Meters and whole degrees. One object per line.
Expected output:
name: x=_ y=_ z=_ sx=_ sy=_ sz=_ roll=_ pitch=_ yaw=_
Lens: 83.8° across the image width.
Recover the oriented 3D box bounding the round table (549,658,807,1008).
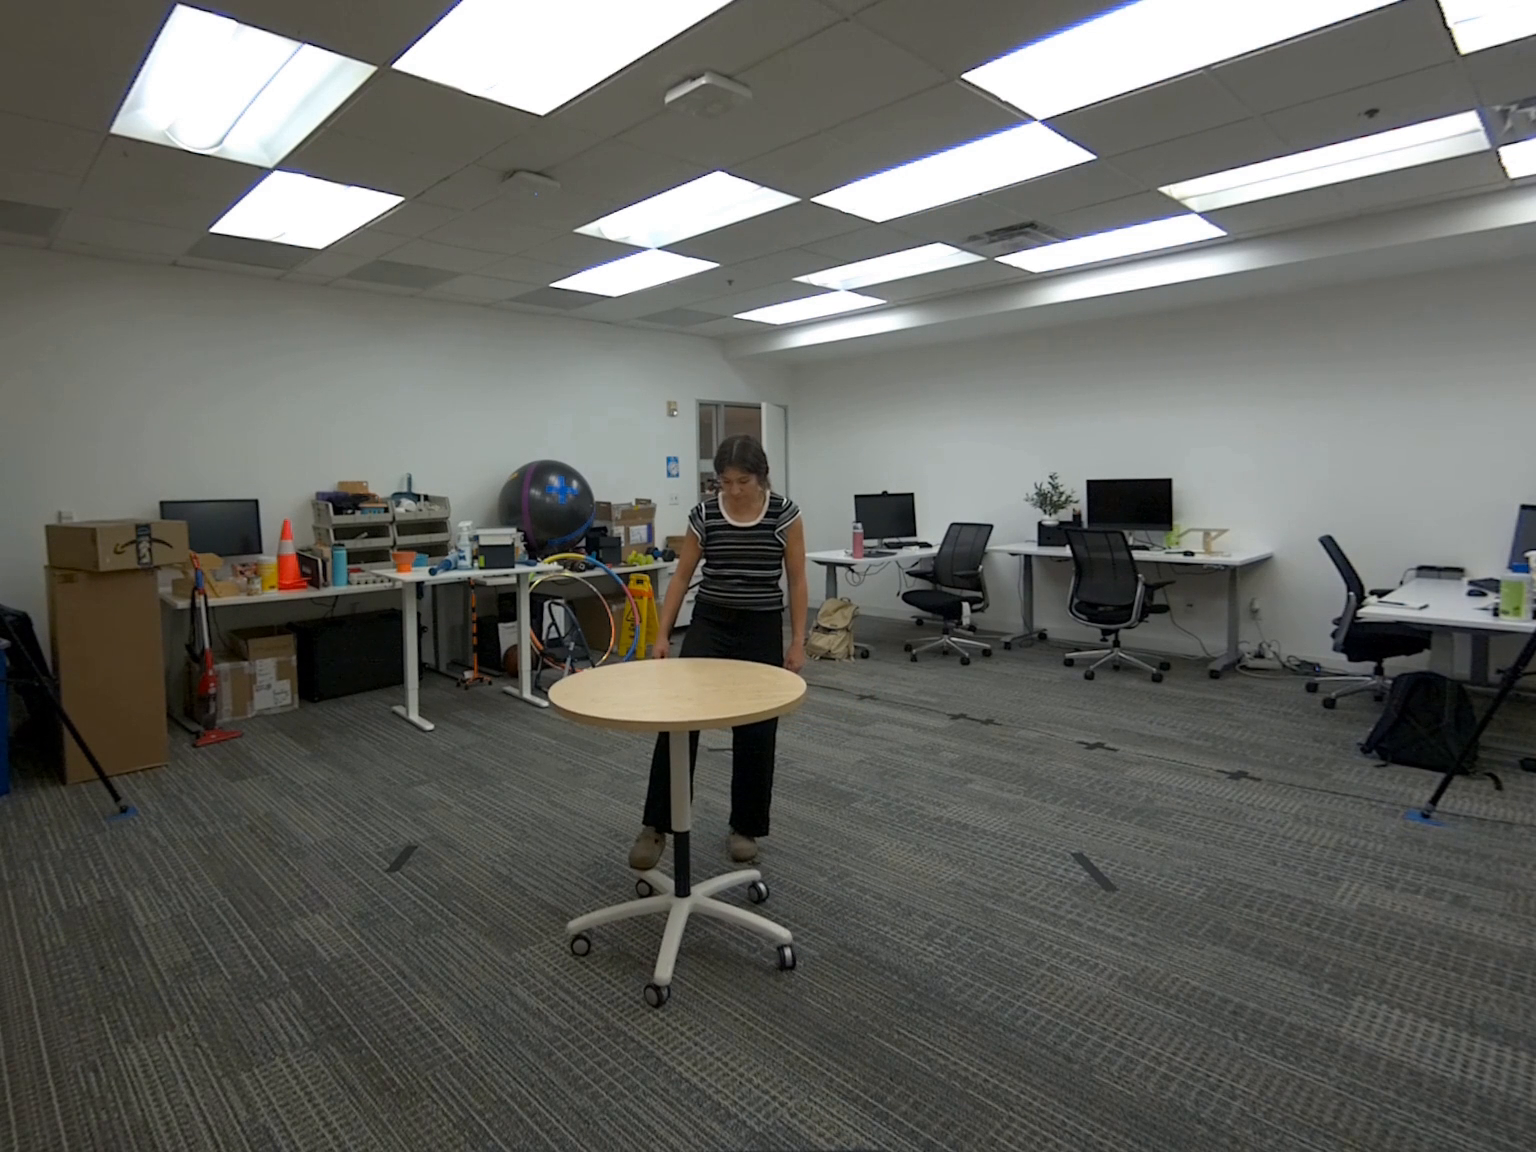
round table: x=-0.265 y=0.721 z=2.566 sx=0.784 sy=0.784 sz=0.789 roll=-1 pitch=5 yaw=-2
